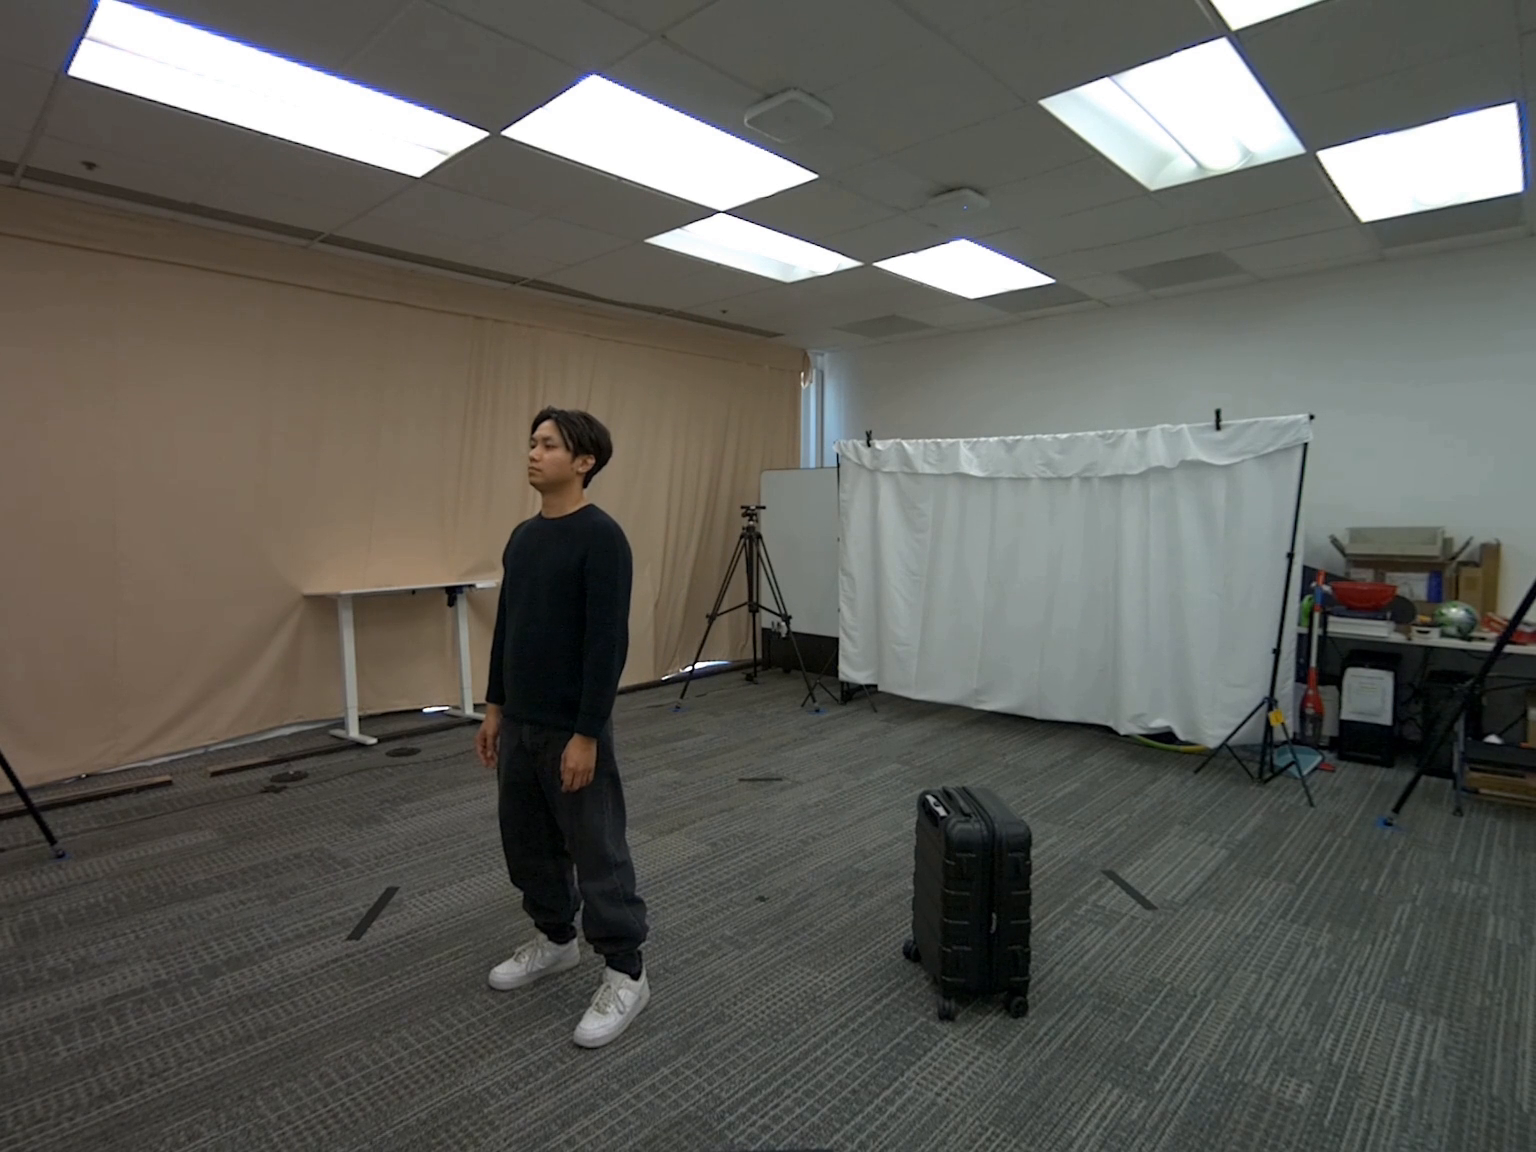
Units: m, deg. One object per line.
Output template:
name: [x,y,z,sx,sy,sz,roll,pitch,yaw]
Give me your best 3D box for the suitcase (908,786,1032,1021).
suitcase: [0.597,0.913,2.438,0.248,0.548,0.377,-1,3,-3]
